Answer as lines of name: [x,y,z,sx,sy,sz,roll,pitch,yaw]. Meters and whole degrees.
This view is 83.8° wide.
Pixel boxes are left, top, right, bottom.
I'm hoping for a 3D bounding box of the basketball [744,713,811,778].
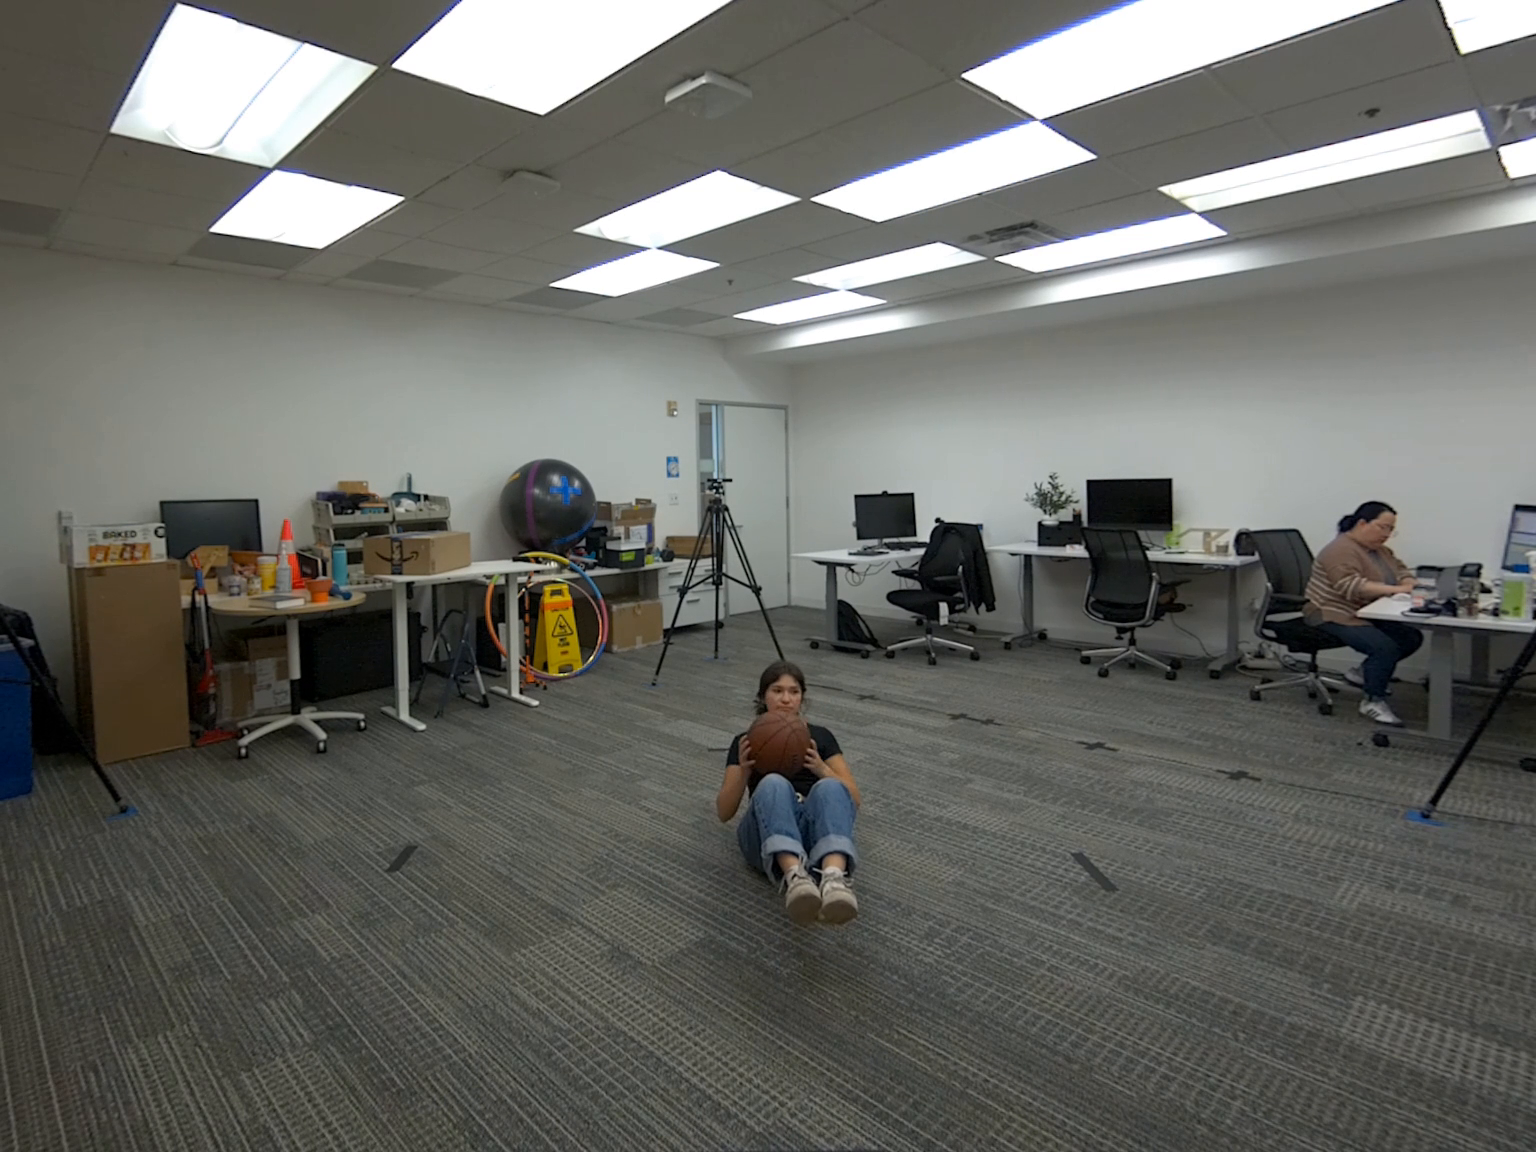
basketball: [0.036,0.622,3.087,0.236,0.235,0.237,-1,5,-2]
